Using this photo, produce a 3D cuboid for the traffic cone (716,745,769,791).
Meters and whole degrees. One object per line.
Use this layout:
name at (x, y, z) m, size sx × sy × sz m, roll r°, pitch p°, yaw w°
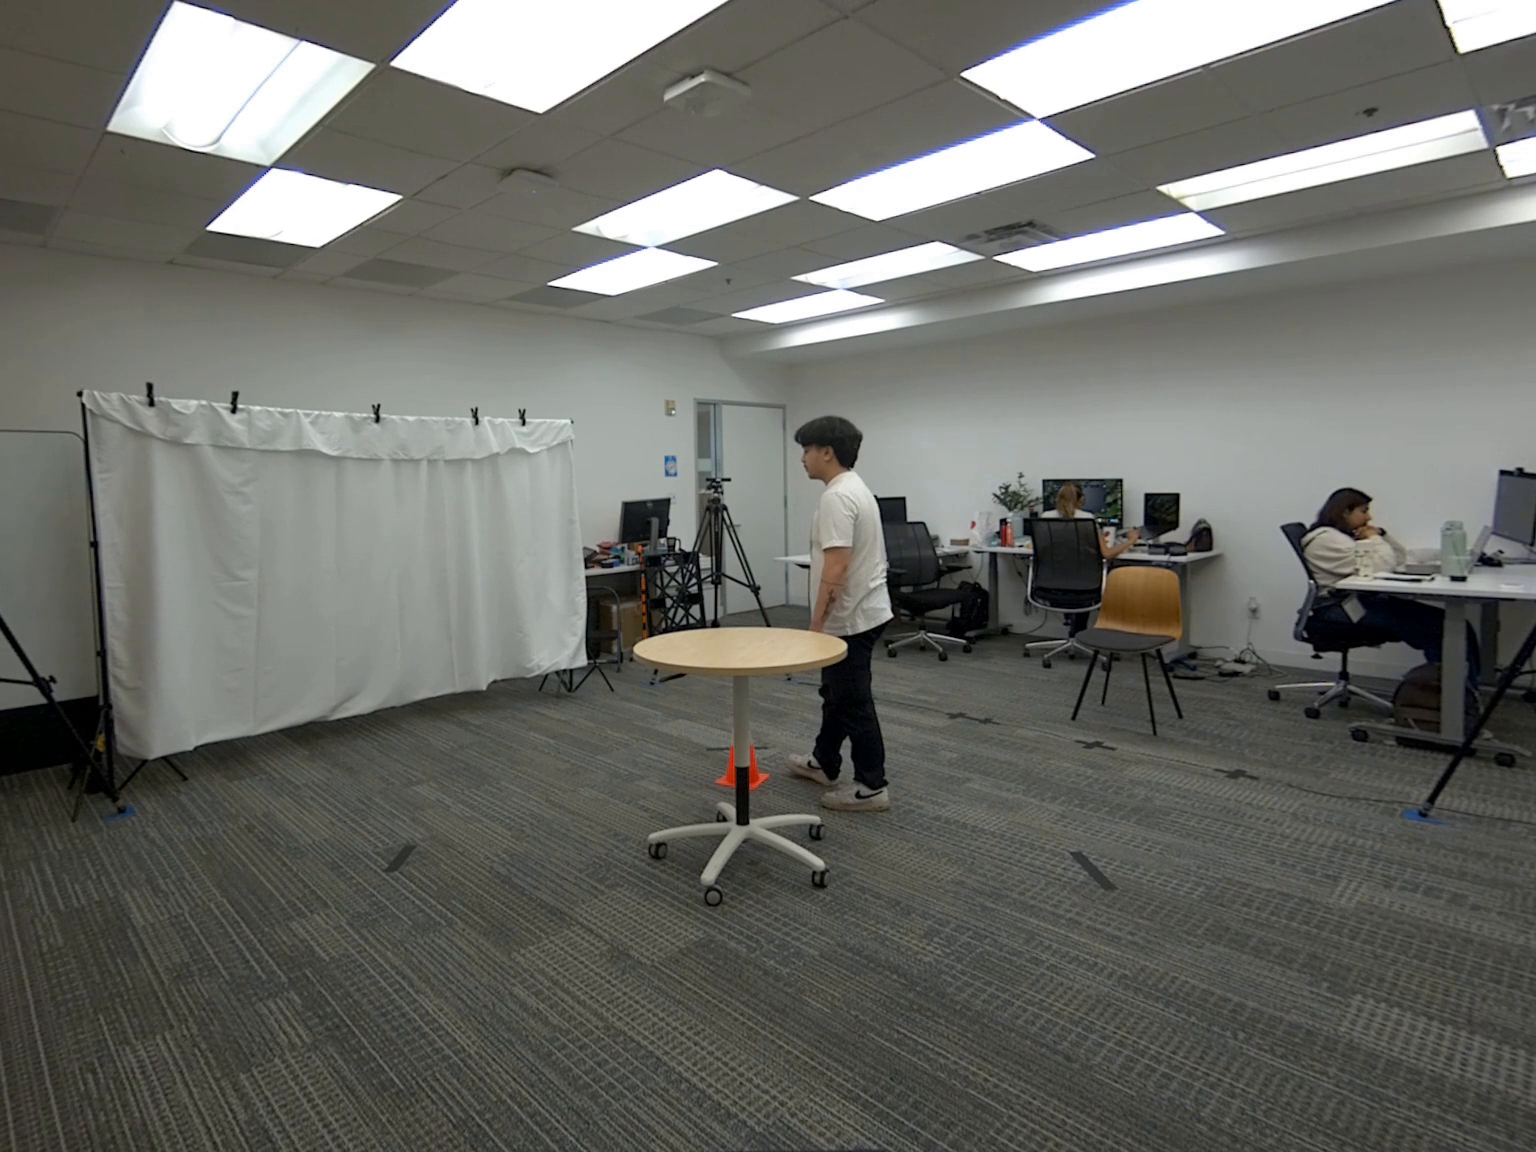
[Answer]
traffic cone at (-0.121, 0.762, 3.975) m, size 0.210 × 0.382 × 0.198 m, roll 0°, pitch 4°, yaw 33°
